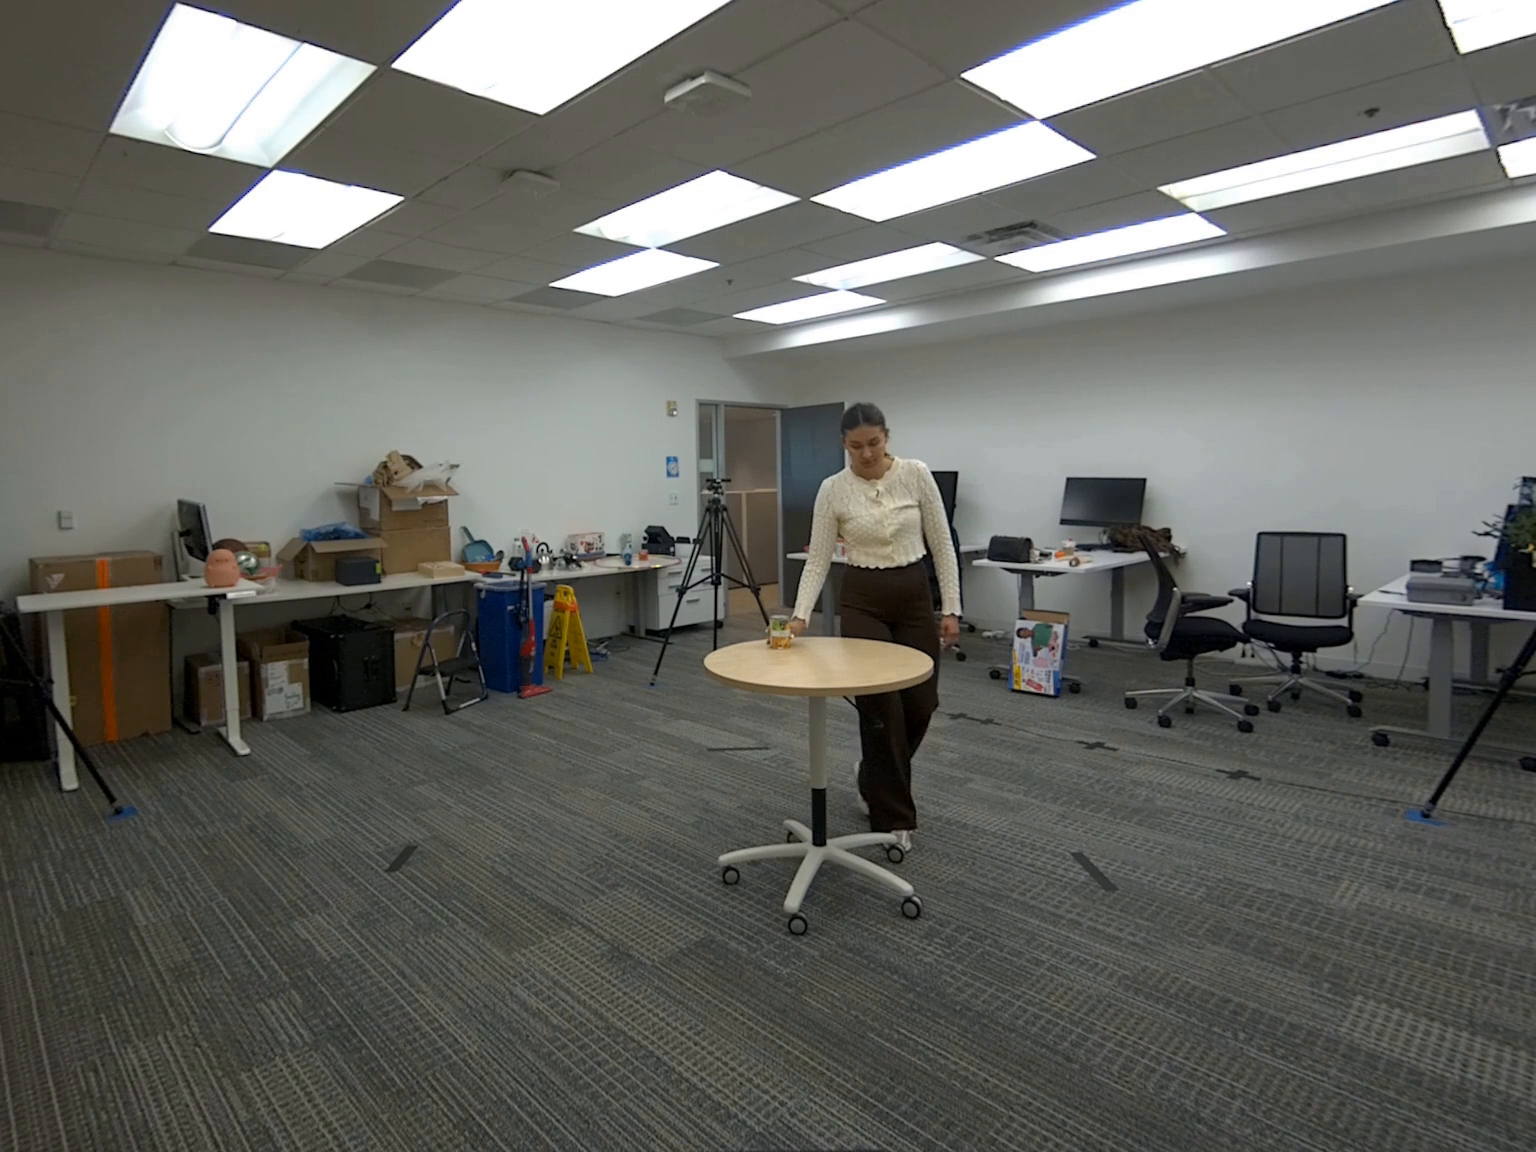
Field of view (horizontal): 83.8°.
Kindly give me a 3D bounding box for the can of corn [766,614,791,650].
[{"bbox_3d":[0.041,0.204,3.088,0.074,0.111,0.074,0,2,-2],"label":"can of corn"}]
